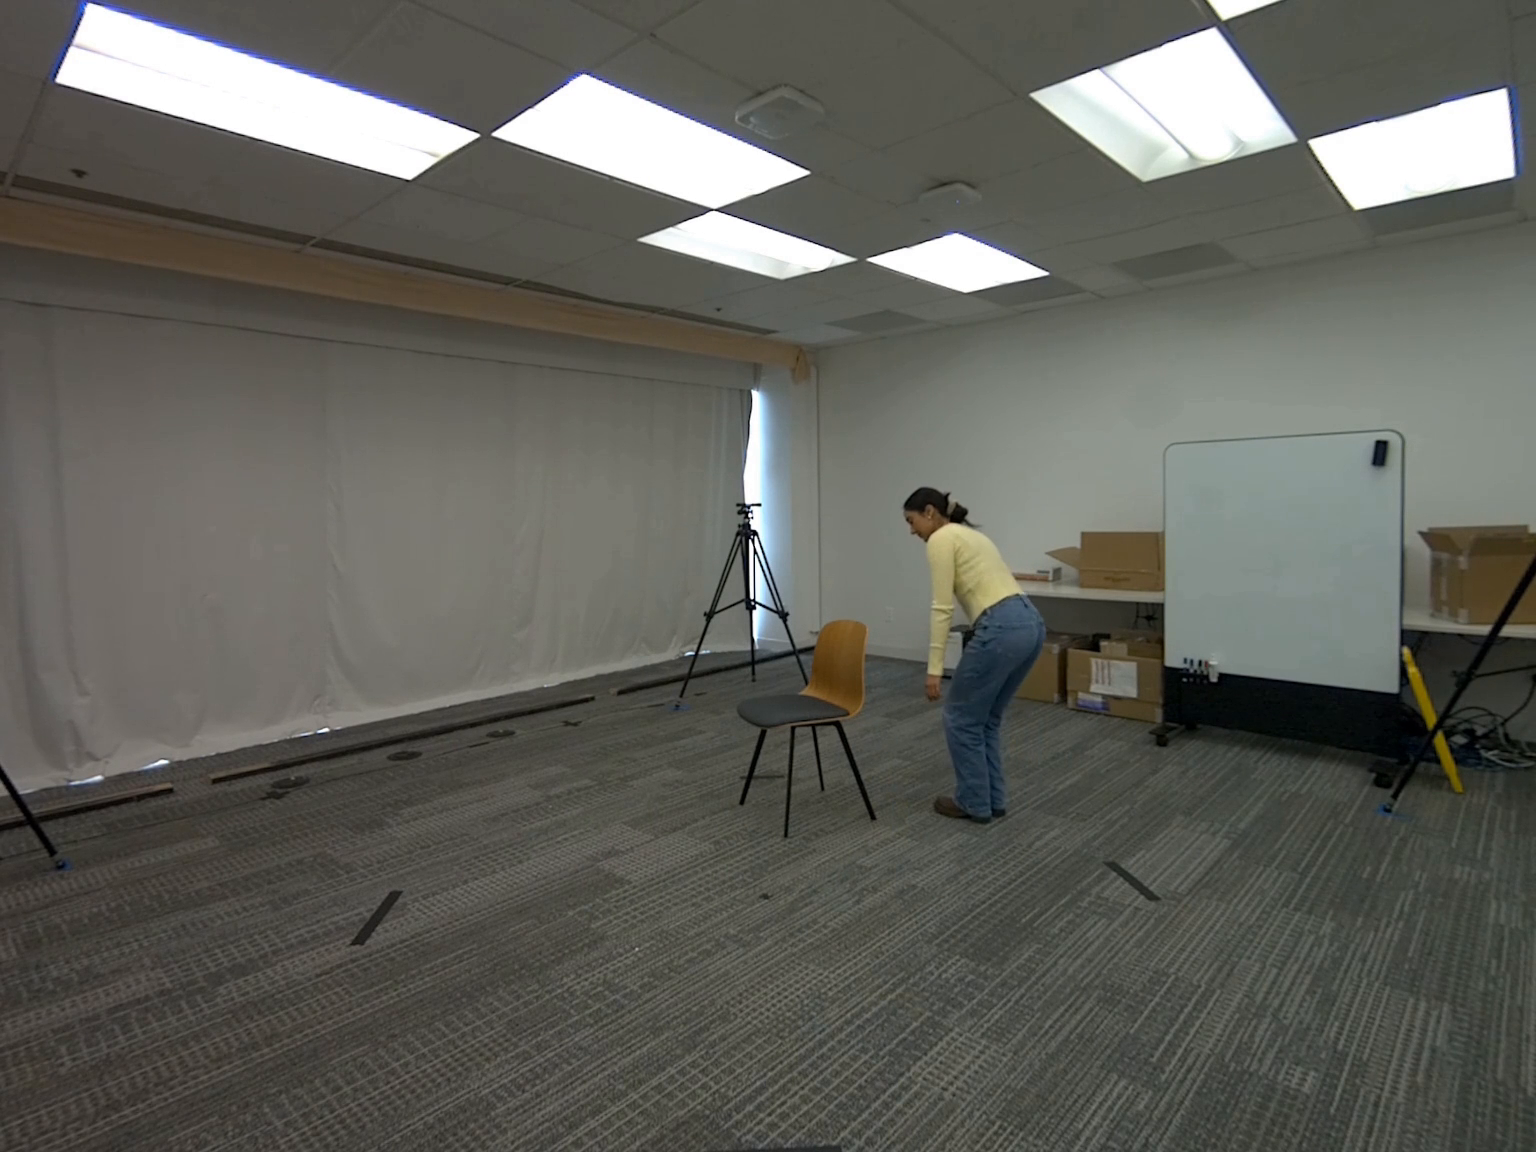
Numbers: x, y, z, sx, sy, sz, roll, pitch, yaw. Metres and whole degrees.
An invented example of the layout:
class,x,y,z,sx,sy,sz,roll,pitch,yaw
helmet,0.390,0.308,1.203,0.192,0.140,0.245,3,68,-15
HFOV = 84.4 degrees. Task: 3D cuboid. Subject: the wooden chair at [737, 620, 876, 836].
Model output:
class,x,y,z,sx,sy,sz,roll,pitch,yaw
wooden chair,0.158,0.642,3.757,0.510,0.876,0.491,2,2,-26
